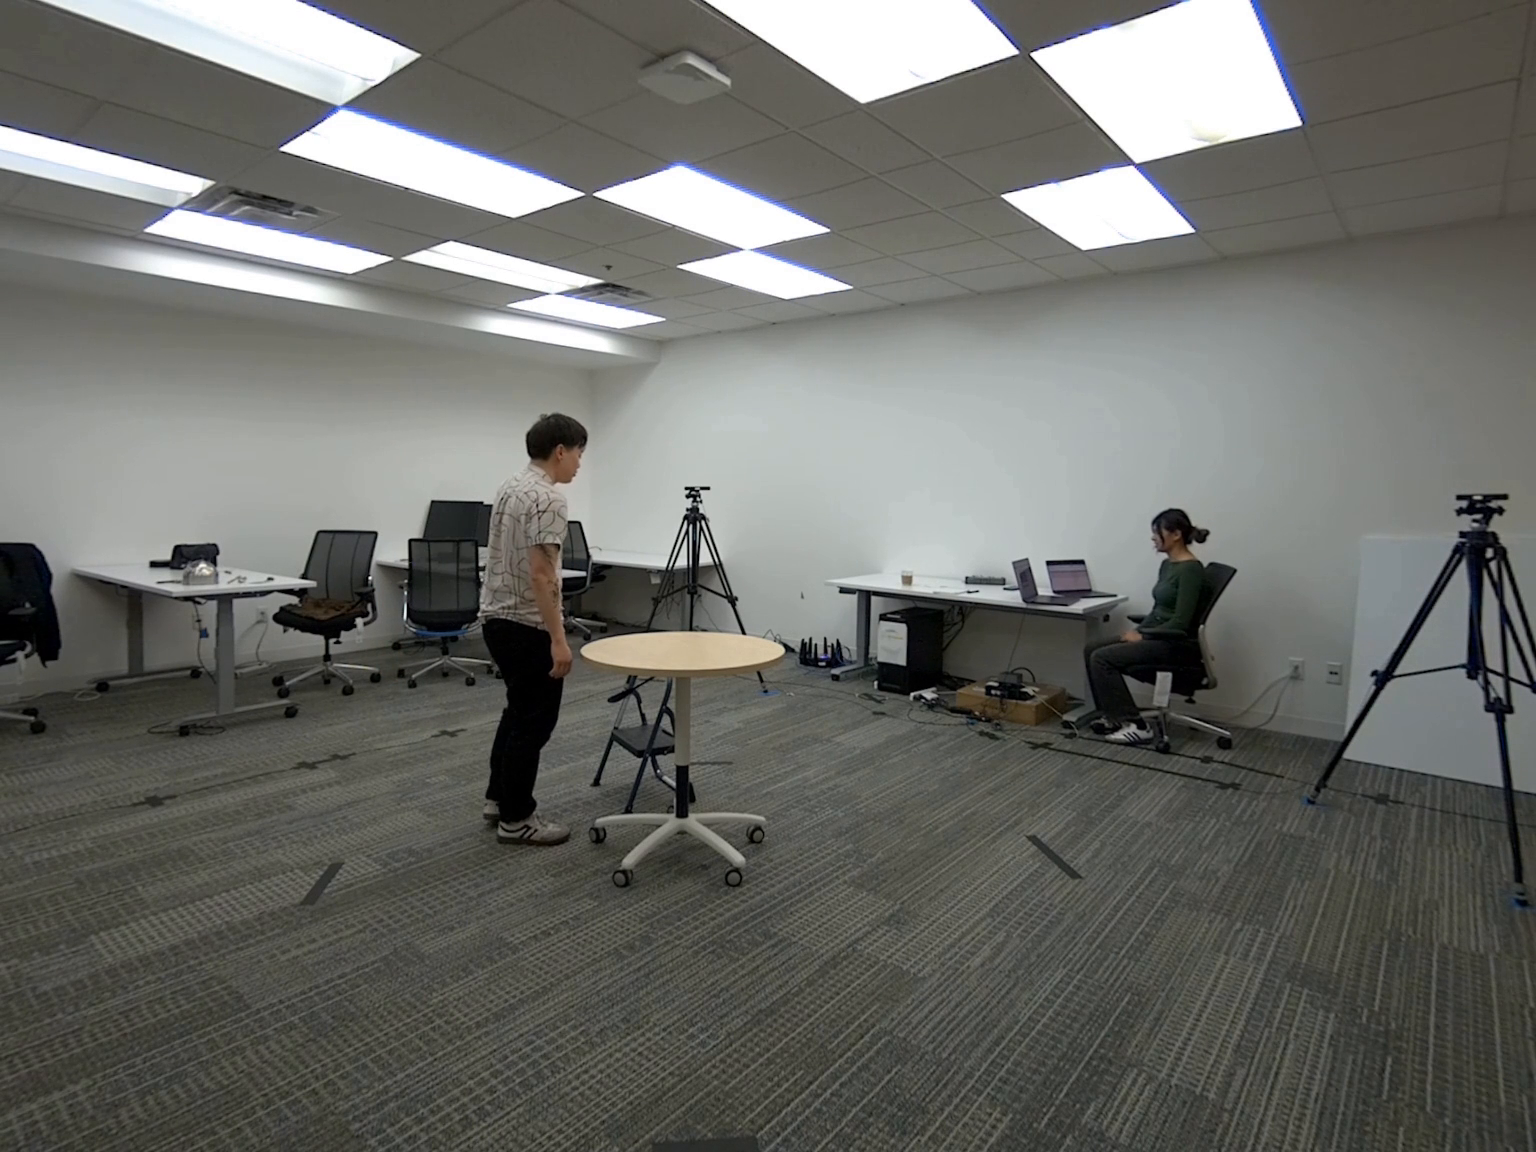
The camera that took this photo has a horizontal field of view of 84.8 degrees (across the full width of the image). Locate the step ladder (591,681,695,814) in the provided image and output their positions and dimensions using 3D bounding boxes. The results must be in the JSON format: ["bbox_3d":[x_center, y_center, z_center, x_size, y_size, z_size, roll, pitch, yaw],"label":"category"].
[{"bbox_3d":[-0.583,0.685,3.844,0.340,0.605,0.443,-2,3,-30],"label":"step ladder"}]
